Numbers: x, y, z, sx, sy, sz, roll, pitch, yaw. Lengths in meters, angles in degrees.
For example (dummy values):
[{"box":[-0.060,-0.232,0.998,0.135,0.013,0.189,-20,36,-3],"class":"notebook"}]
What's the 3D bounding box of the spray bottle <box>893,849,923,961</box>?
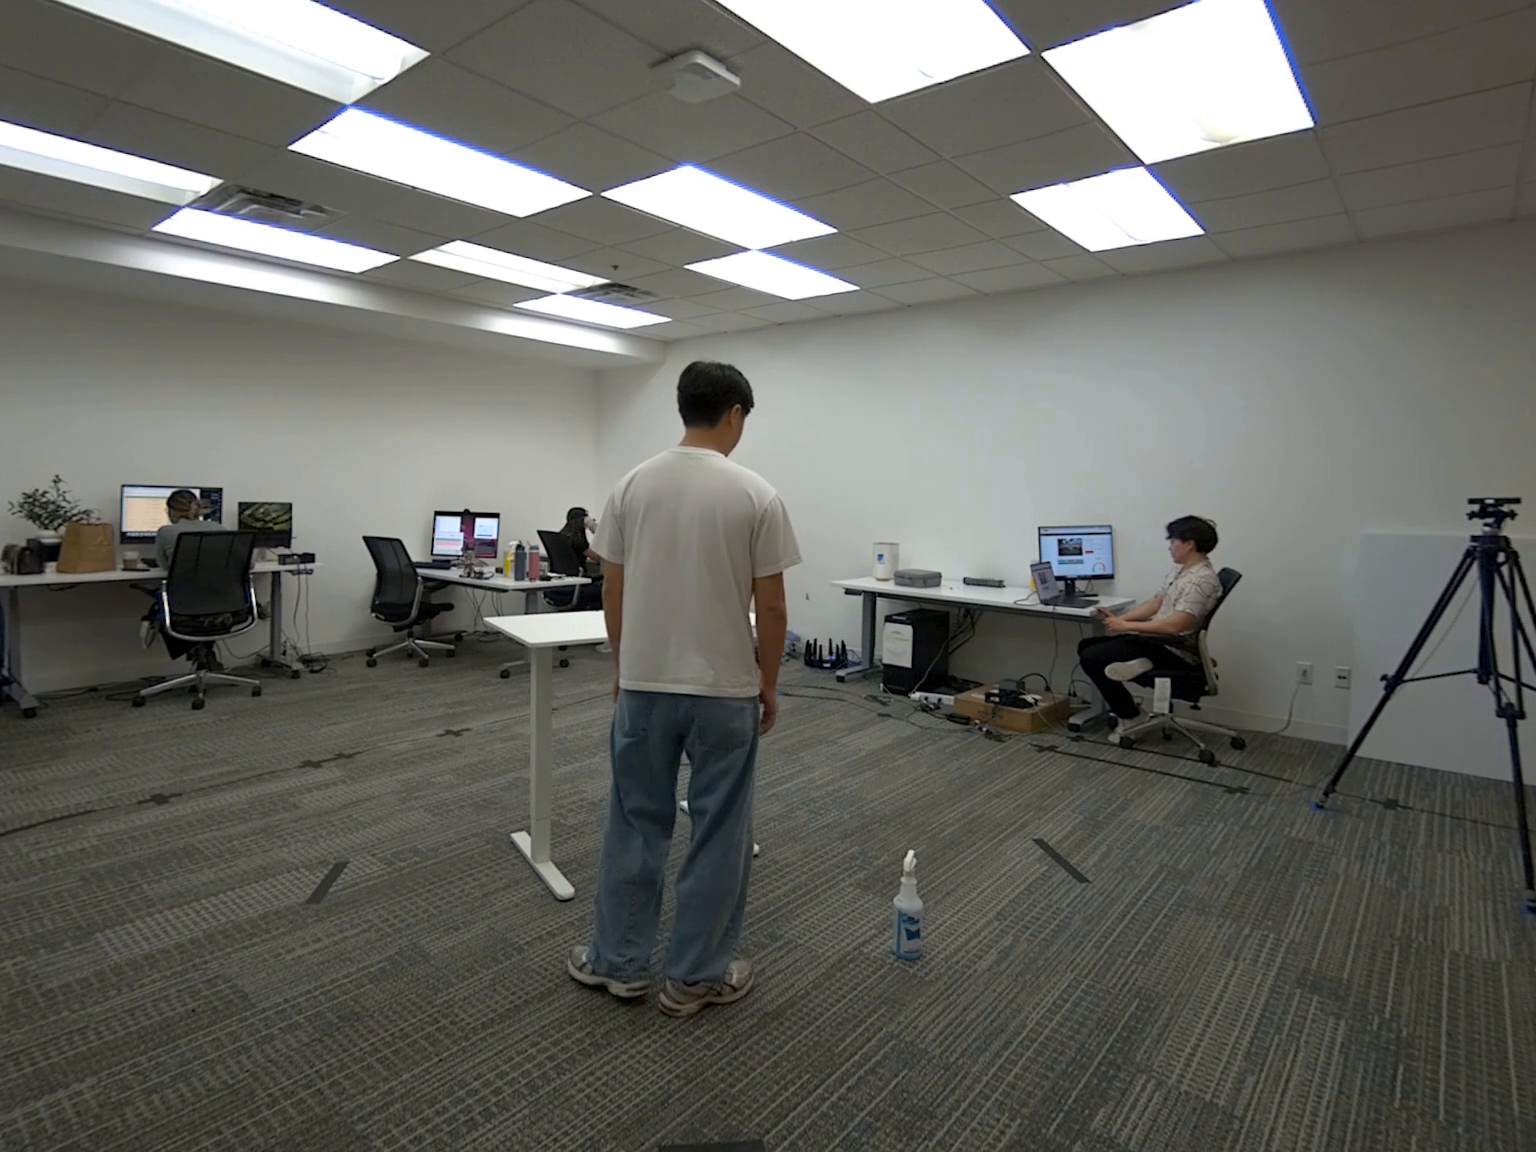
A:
[{"box":[0.419,0.991,2.560,0.090,0.297,0.087,0,1,44],"class":"spray bottle"}]
